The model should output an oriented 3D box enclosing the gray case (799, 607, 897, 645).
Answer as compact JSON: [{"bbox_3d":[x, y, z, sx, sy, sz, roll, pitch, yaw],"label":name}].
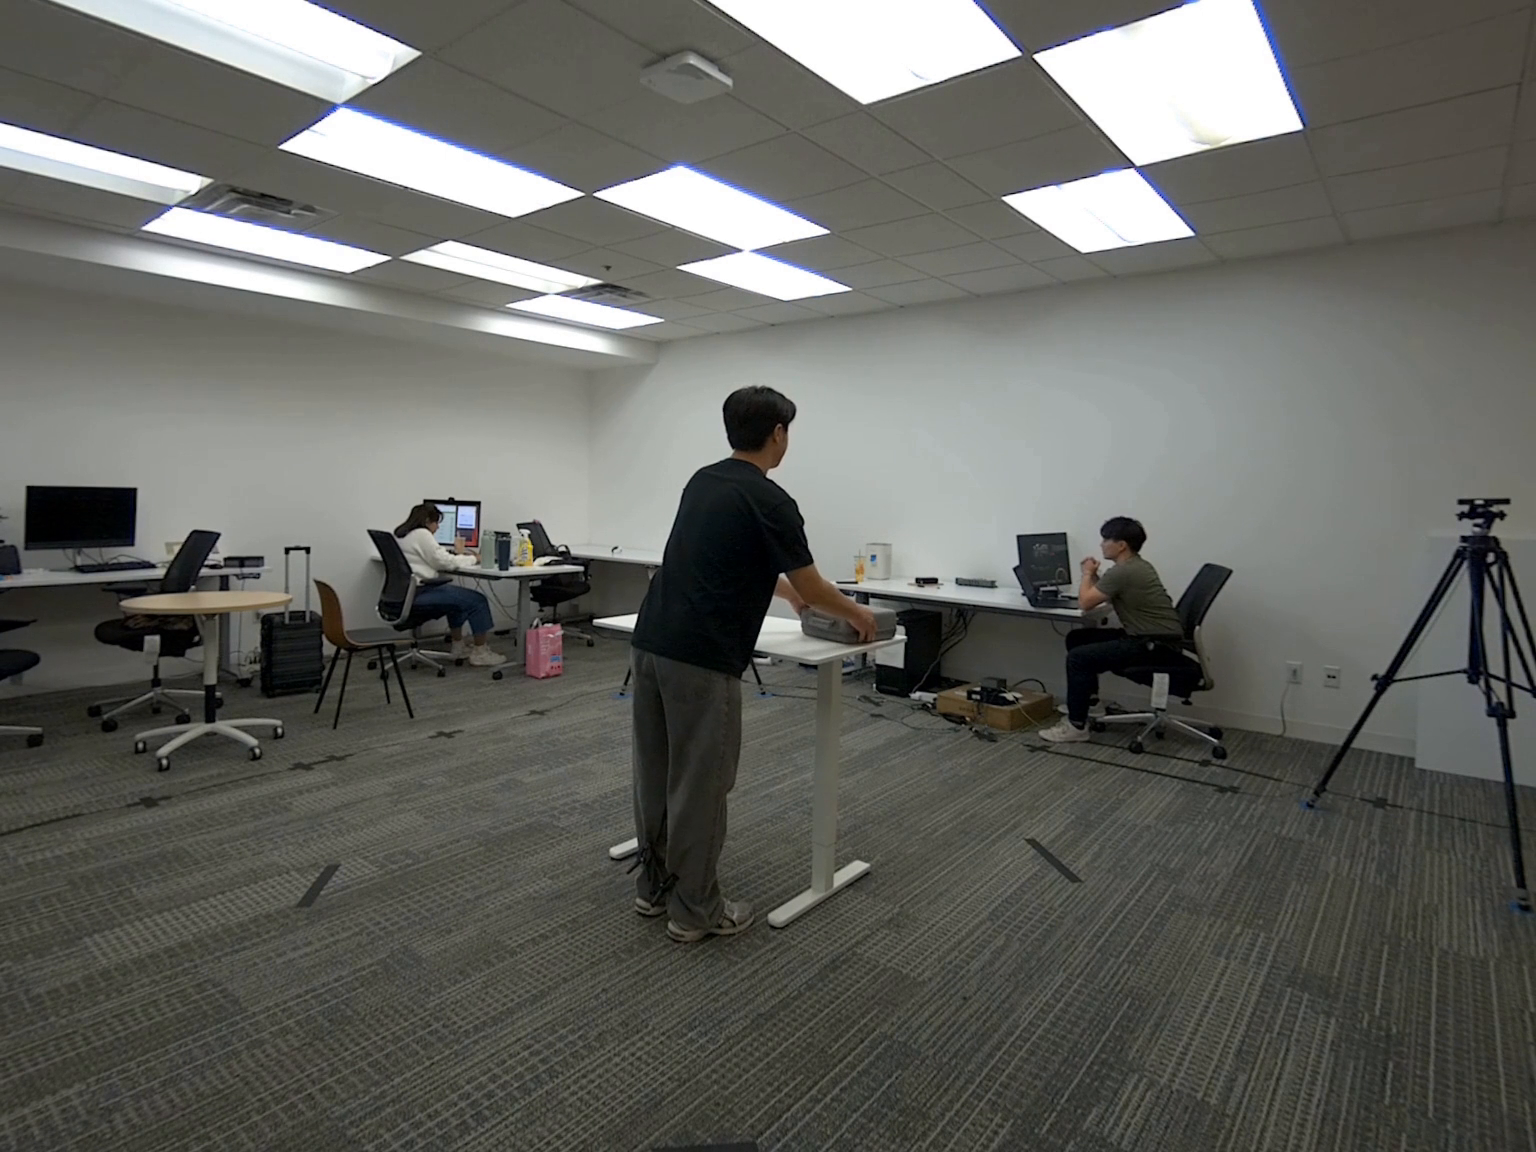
[{"bbox_3d":[0.277,0.160,2.999,0.253,0.104,0.266,-2,8,-38],"label":"gray case"}]
